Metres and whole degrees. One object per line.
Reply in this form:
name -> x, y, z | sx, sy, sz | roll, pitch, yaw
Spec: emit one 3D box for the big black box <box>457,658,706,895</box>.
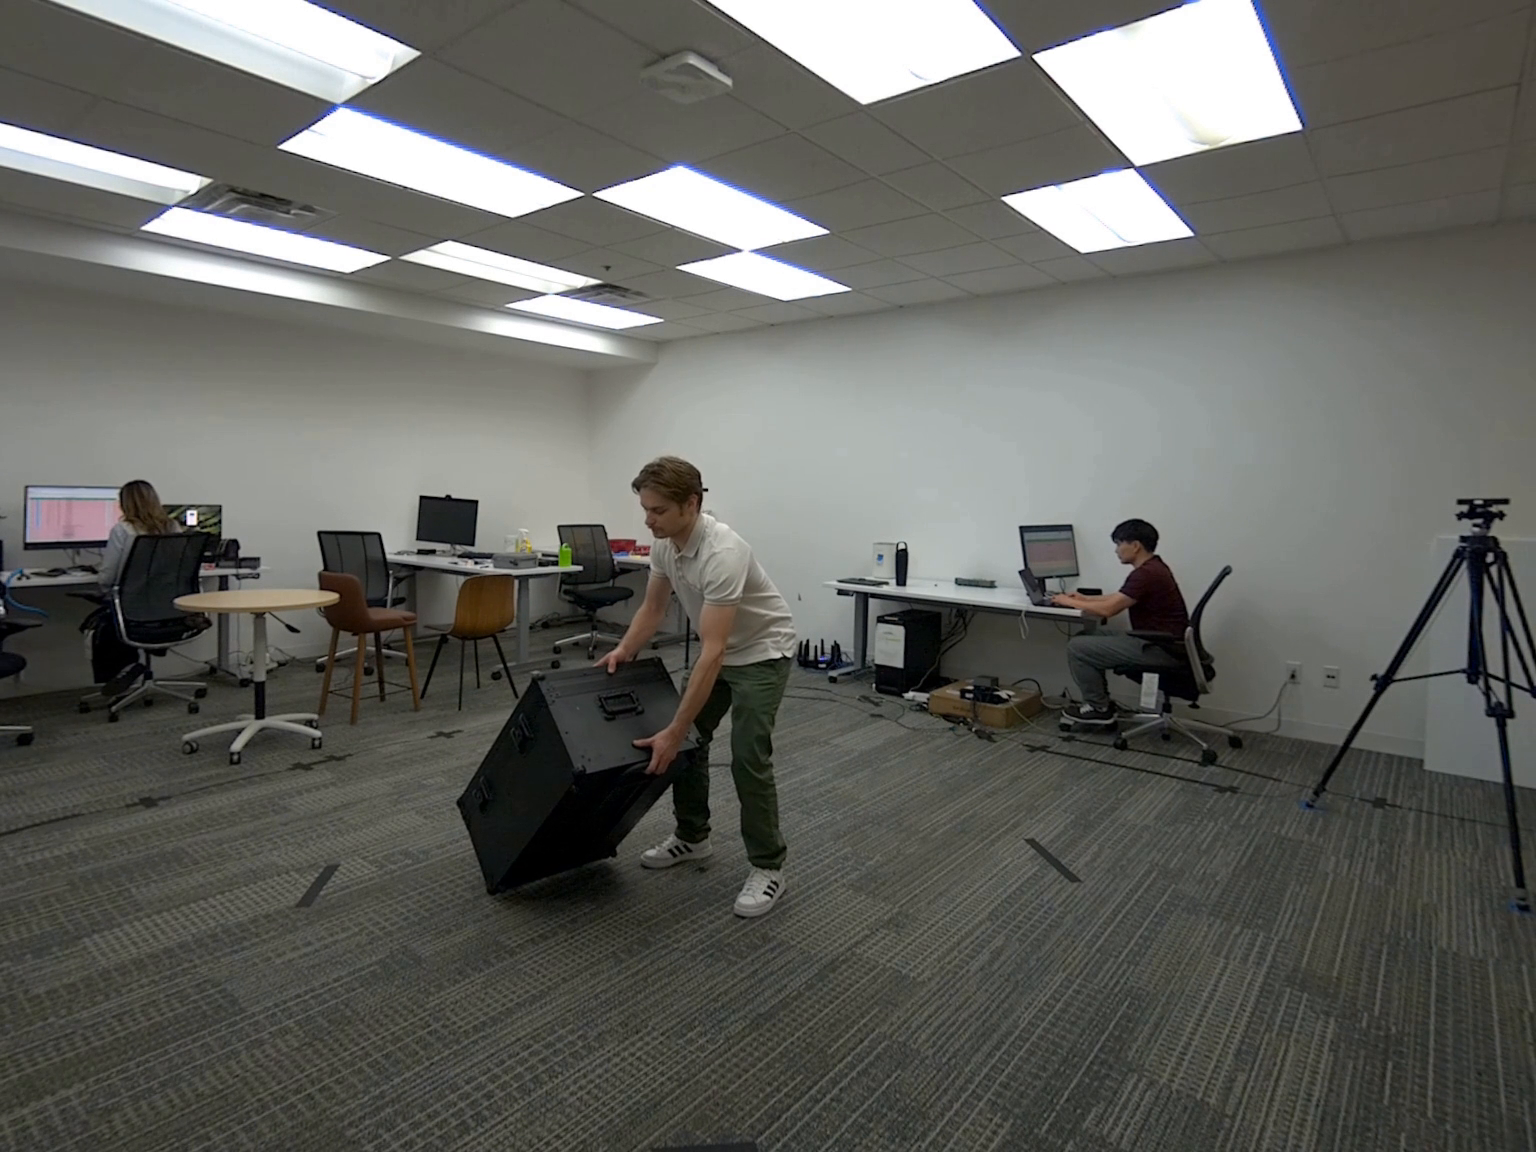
big black box -> -0.680, 0.700, 2.897 | 0.508, 0.399, 0.864 | -4, -39, -43
